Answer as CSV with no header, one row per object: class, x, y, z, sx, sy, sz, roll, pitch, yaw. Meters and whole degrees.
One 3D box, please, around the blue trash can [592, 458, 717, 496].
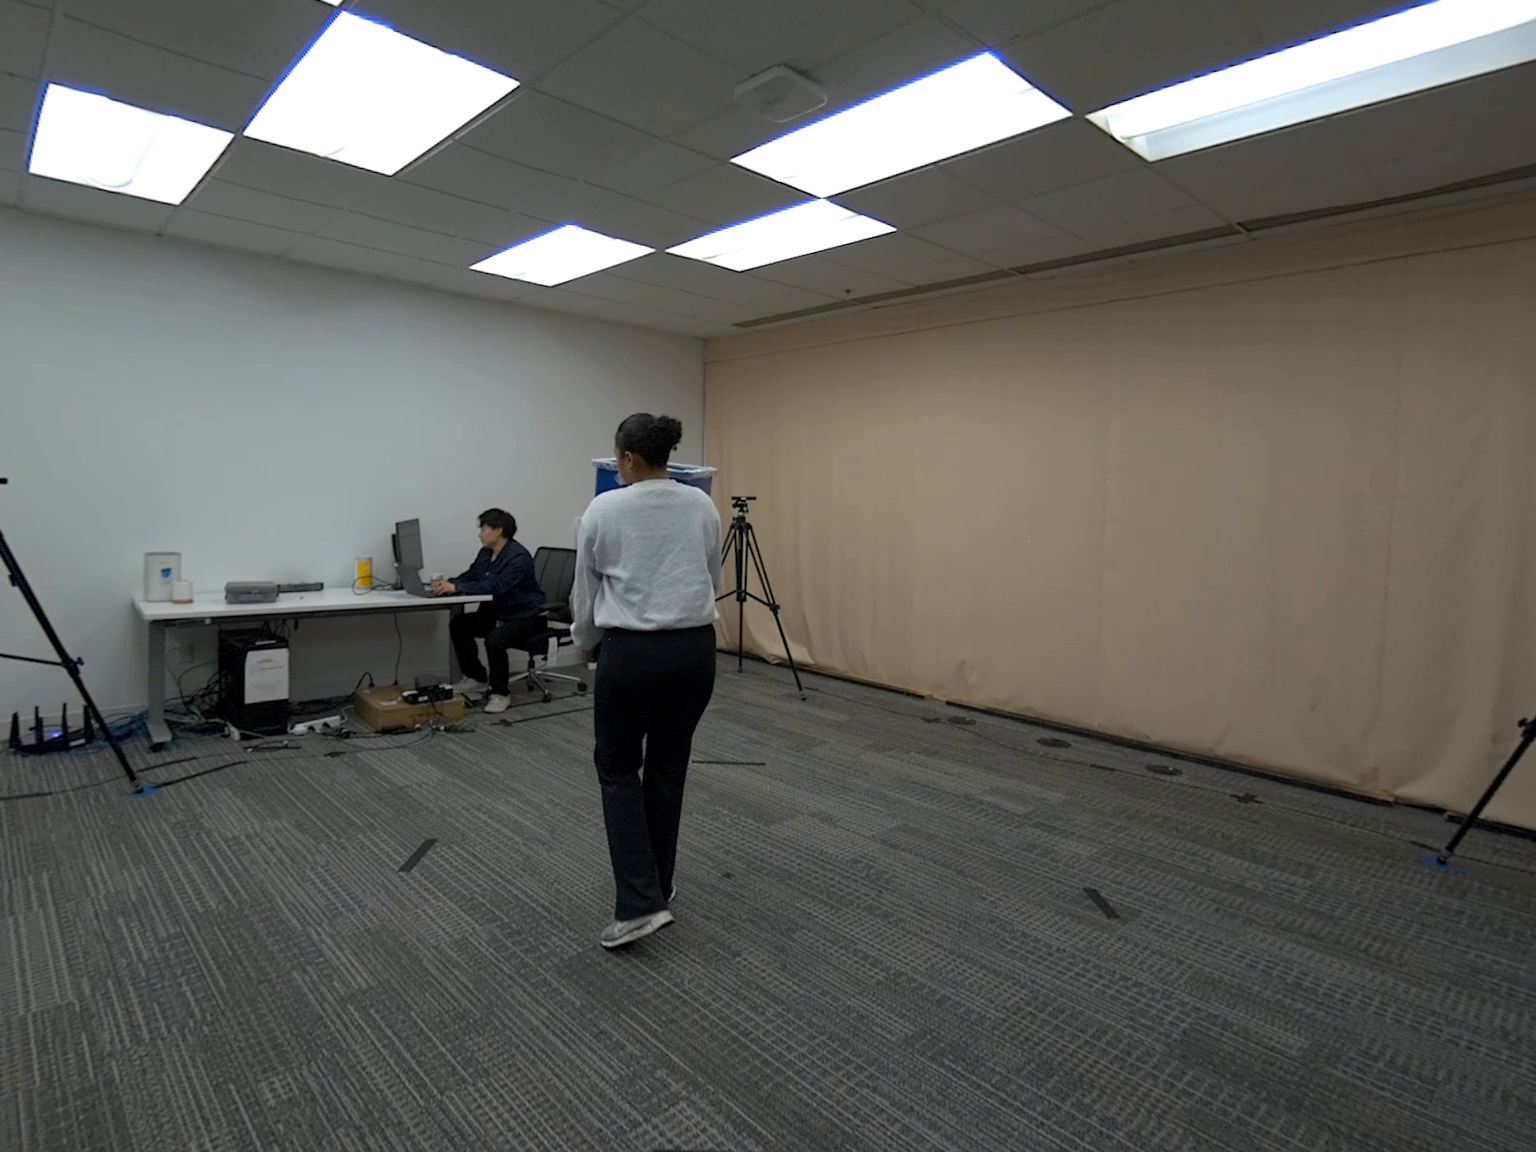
blue trash can,-0.430,-0.053,3.066,0.378,0.709,0.376,6,9,11
